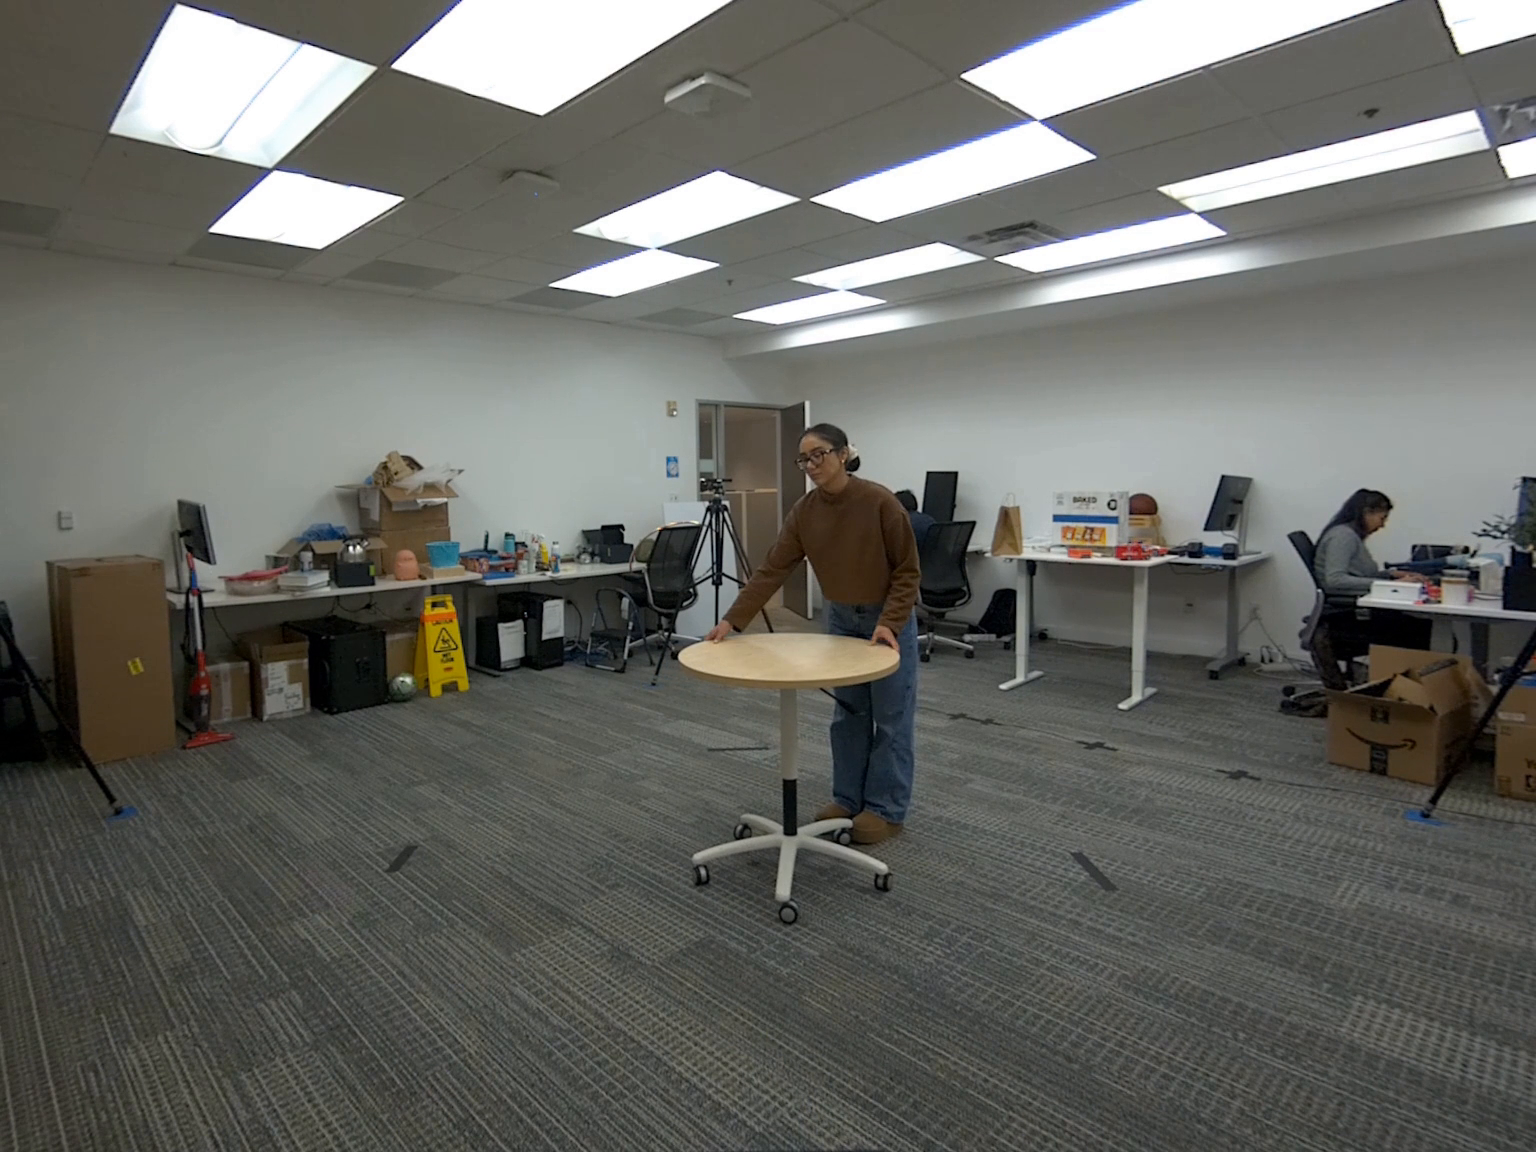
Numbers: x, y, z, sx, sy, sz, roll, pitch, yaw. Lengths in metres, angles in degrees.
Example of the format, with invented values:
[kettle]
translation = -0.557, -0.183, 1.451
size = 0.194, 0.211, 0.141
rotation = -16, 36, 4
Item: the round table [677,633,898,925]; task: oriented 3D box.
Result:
[round table]
translation = 0.070, 0.666, 3.005
size = 0.763, 0.790, 0.768
rotation = -1, 5, -2
